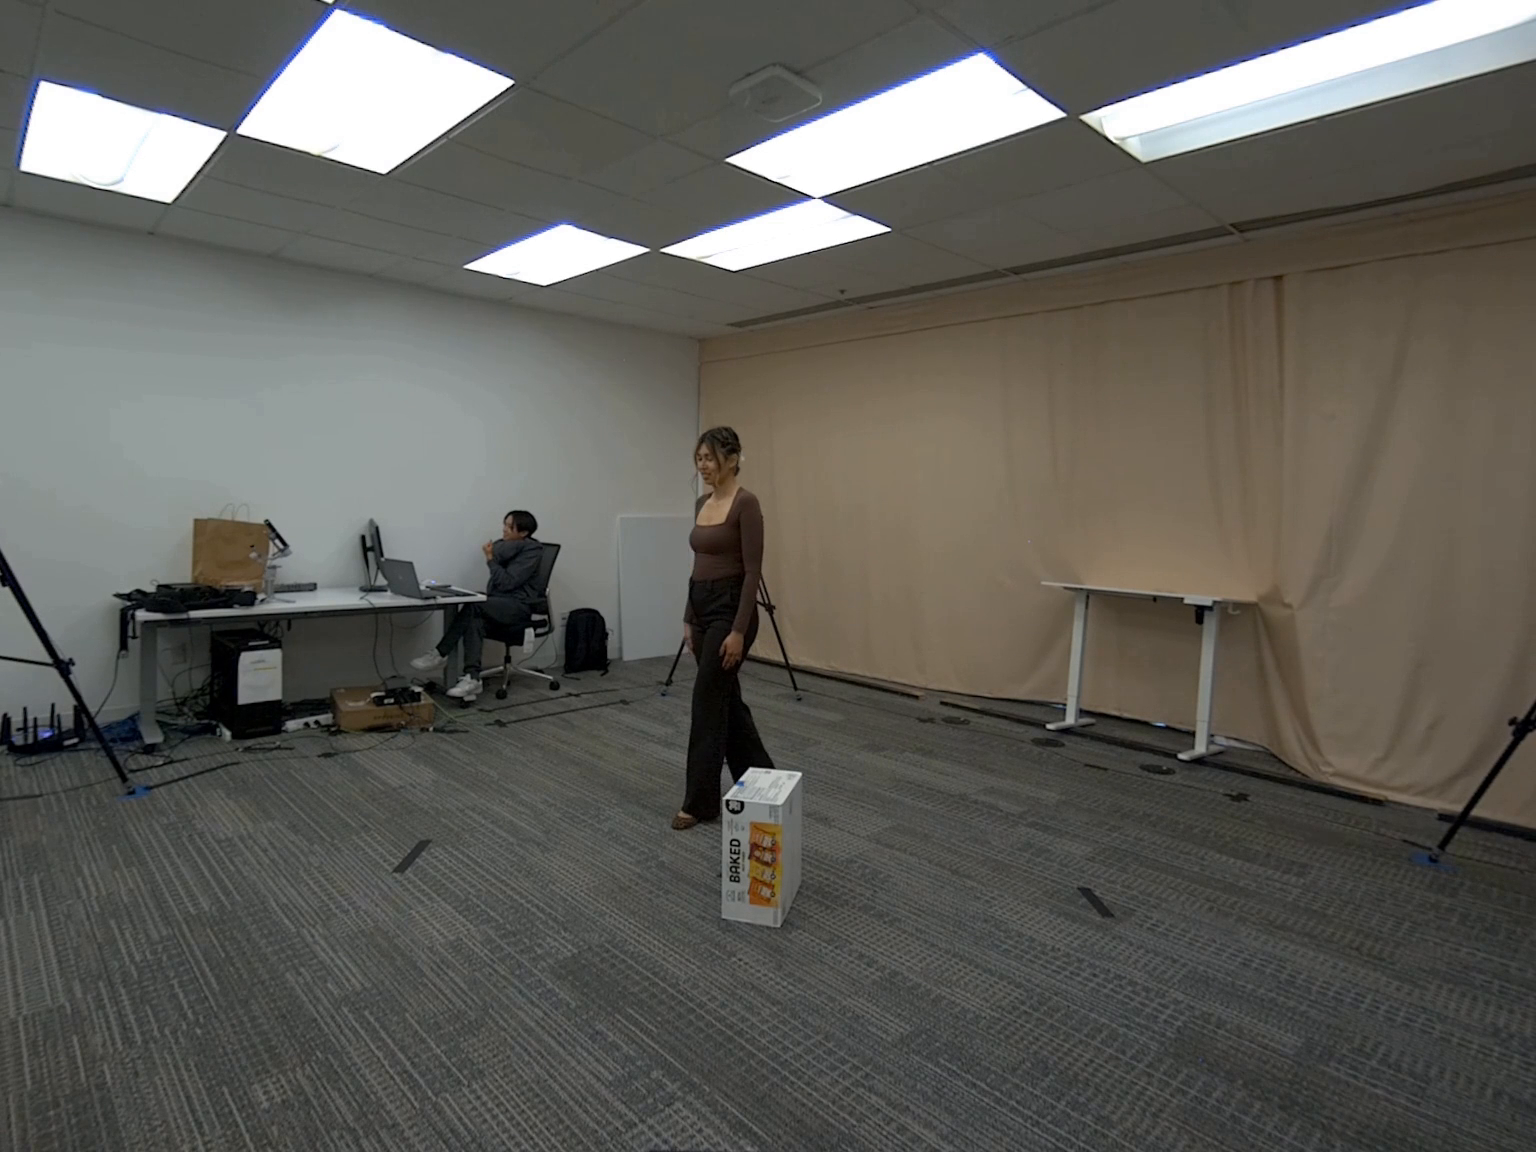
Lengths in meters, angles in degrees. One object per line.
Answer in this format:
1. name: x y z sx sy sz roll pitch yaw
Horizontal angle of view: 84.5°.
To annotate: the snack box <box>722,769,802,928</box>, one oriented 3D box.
1. snack box: -0.019 0.922 2.908 0.208 0.404 0.337 2 3 14
